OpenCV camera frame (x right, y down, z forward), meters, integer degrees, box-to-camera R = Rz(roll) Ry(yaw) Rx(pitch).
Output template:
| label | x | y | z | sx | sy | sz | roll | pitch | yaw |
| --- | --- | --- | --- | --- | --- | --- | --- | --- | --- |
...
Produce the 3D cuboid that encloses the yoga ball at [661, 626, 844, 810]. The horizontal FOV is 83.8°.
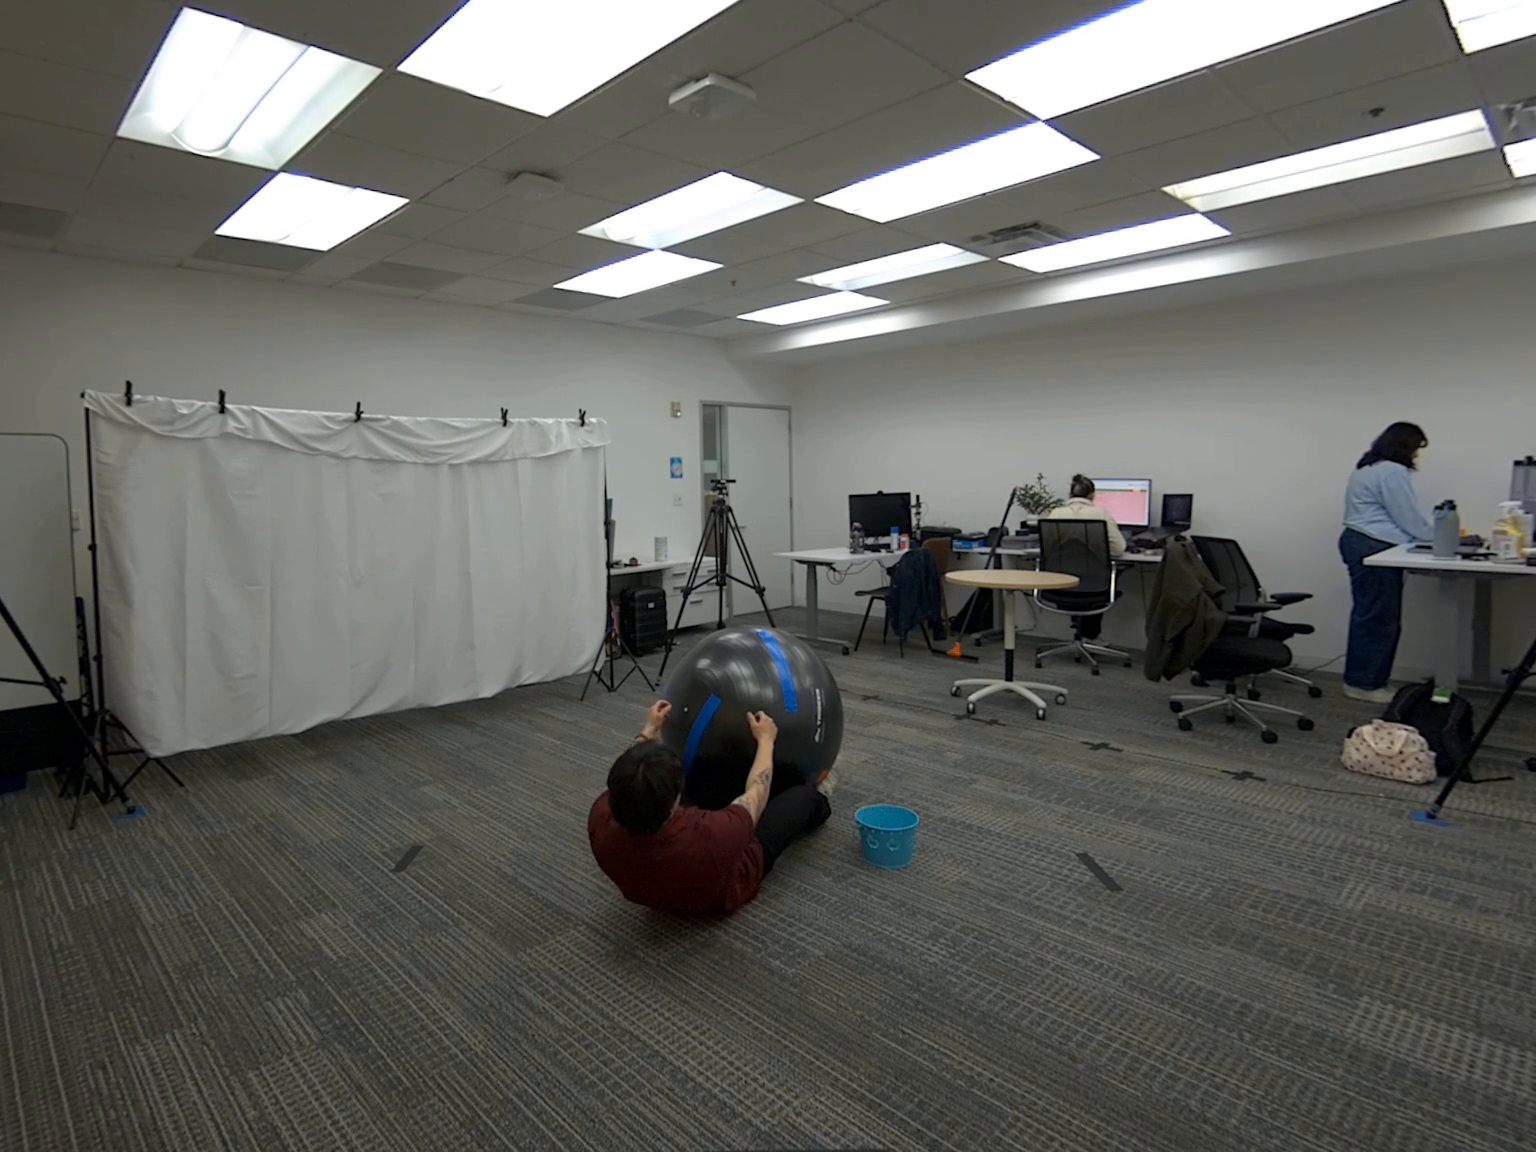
| label | x | y | z | sx | sy | sz | roll | pitch | yaw |
| --- | --- | --- | --- | --- | --- | --- | --- | --- | --- |
| yoga ball | -0.074 | 0.584 | 3.528 | 0.757 | 0.755 | 0.762 | -1 | 5 | -2 |
